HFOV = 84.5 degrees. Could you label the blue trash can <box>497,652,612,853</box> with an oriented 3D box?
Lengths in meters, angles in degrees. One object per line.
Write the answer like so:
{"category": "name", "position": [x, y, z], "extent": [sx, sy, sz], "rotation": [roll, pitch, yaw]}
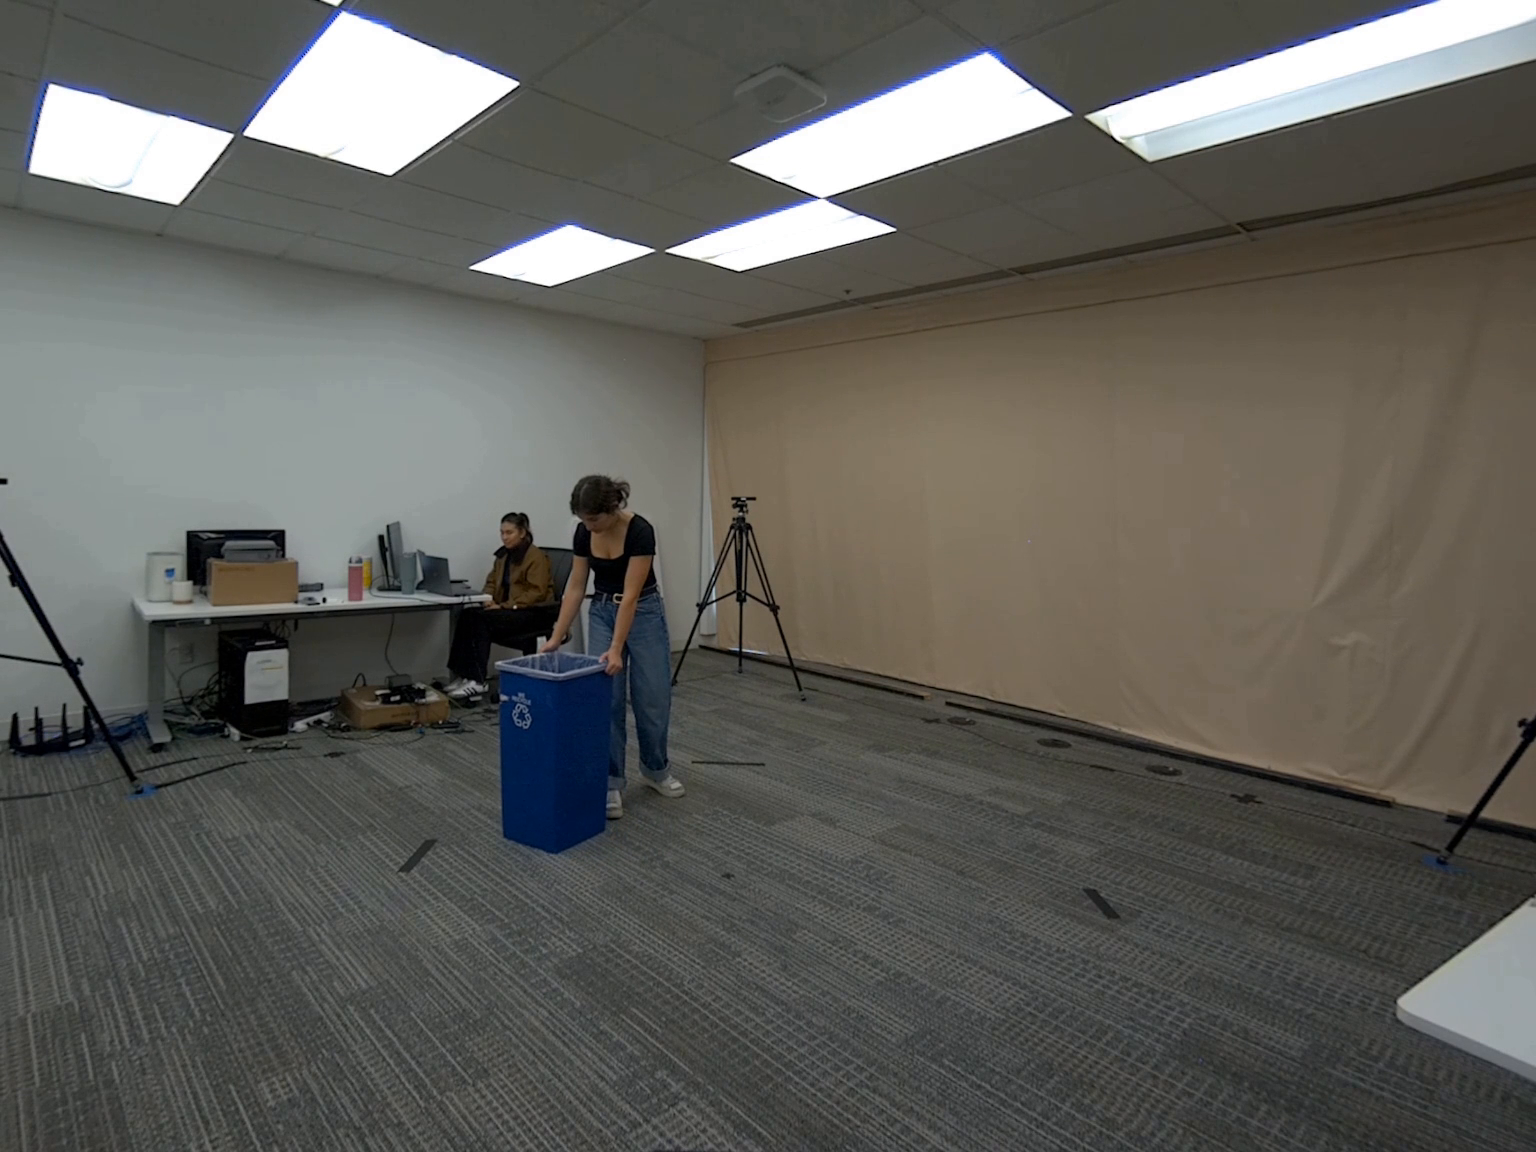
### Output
{"category": "blue trash can", "position": [-0.872, 0.704, 3.439], "extent": [0.382, 0.712, 0.371], "rotation": [3, 4, 31]}
